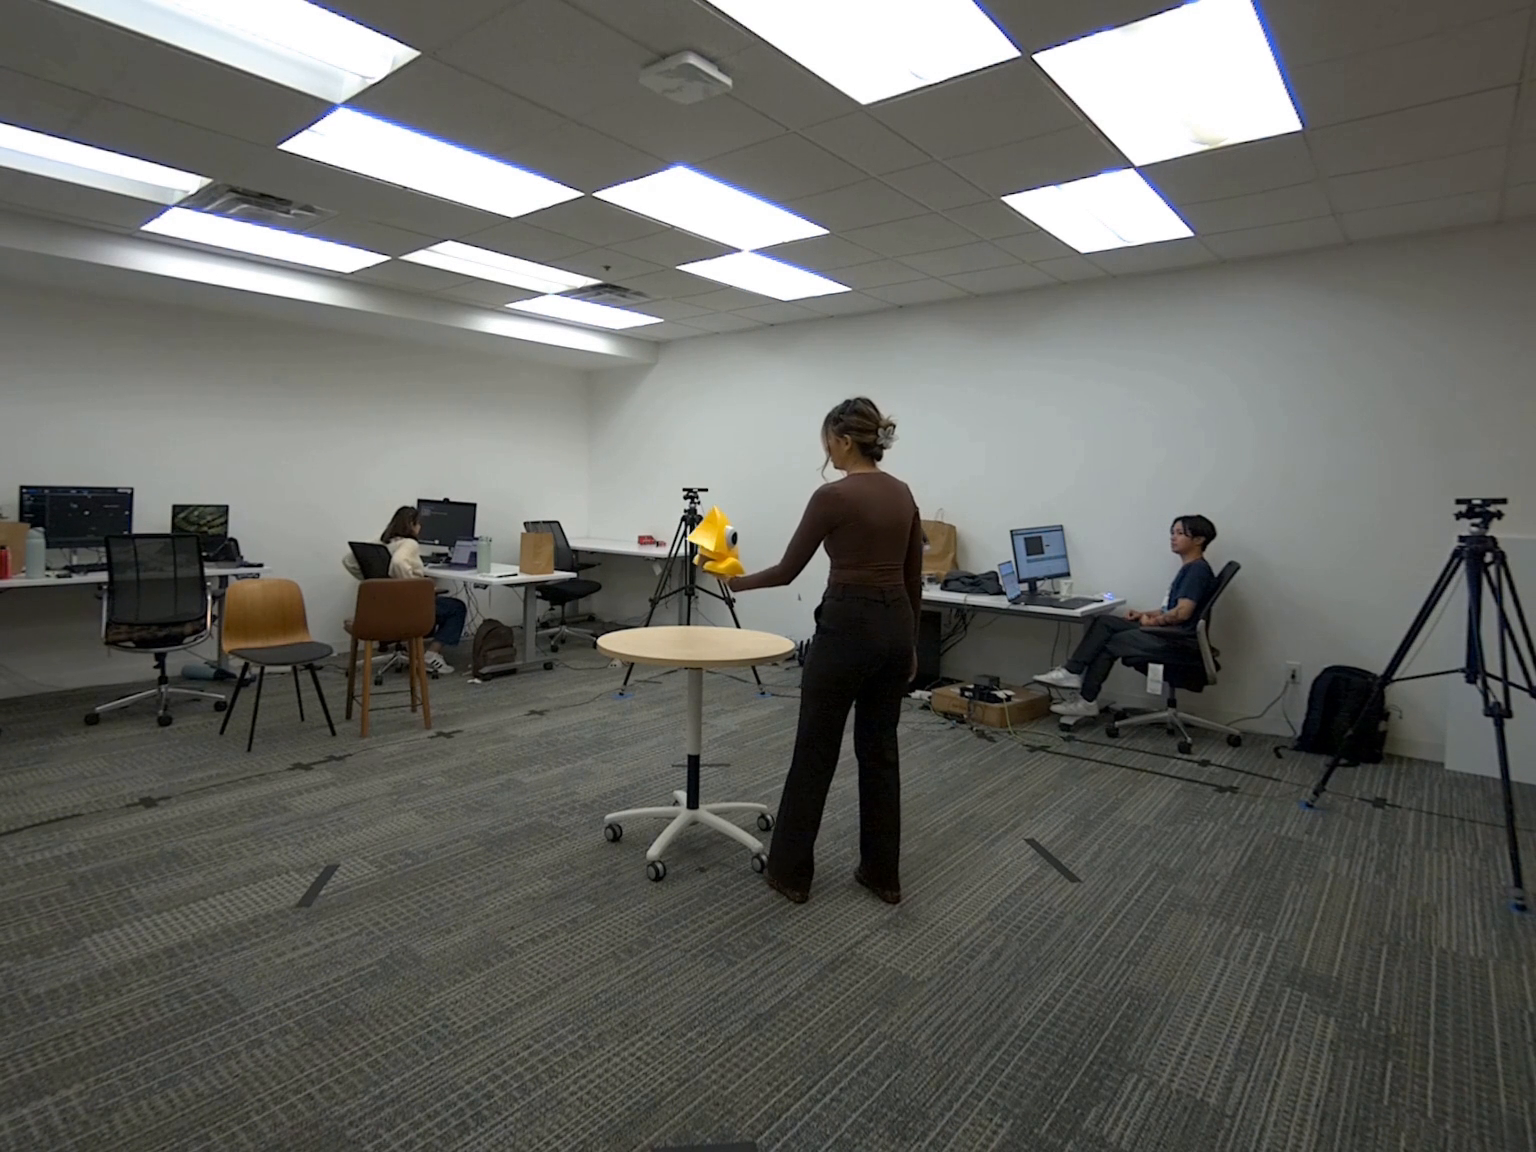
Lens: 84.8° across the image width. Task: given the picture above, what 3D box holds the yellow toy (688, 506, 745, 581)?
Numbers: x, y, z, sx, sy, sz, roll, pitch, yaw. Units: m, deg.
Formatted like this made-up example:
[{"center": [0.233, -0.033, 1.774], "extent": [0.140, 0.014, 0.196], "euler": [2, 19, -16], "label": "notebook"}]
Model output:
[{"center": [-0.184, -0.146, 3.164], "extent": [0.187, 0.229, 0.212], "euler": [6, 9, -34], "label": "yellow toy"}]
